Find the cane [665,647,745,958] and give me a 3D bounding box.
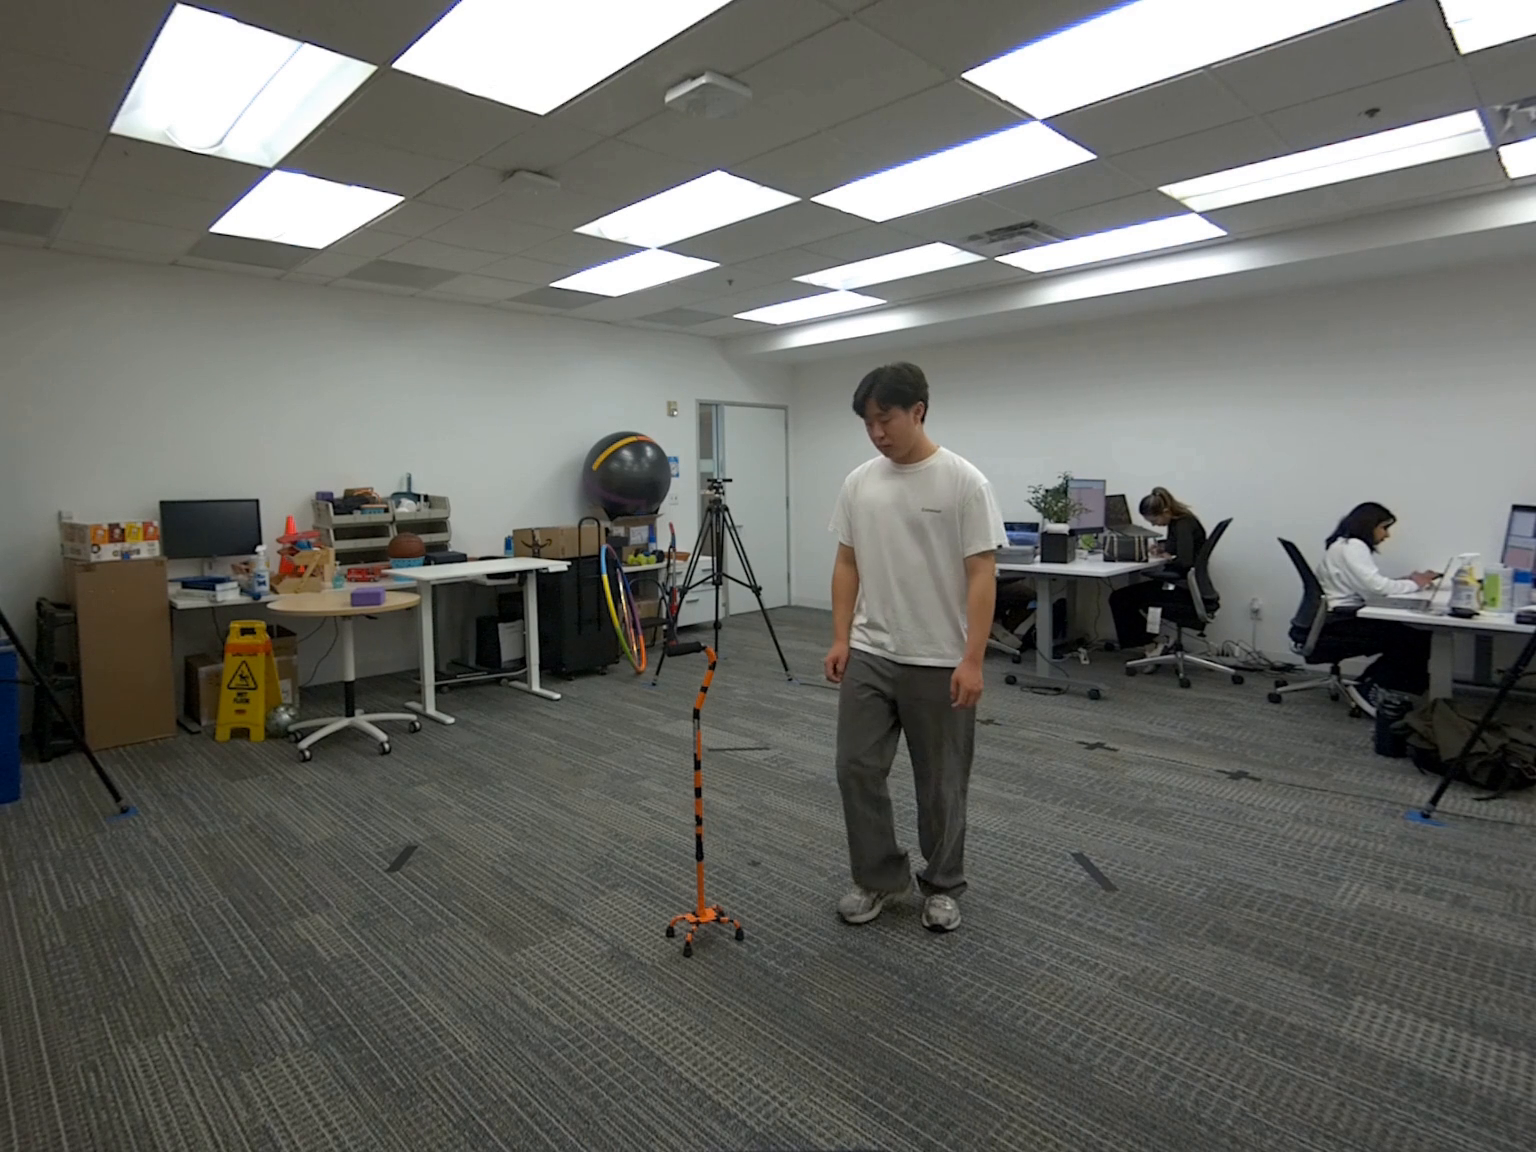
[{"bbox_3d":[-0.194,0.654,2.584,0.201,0.905,0.156,-2,4,-30],"label":"cane"}]
